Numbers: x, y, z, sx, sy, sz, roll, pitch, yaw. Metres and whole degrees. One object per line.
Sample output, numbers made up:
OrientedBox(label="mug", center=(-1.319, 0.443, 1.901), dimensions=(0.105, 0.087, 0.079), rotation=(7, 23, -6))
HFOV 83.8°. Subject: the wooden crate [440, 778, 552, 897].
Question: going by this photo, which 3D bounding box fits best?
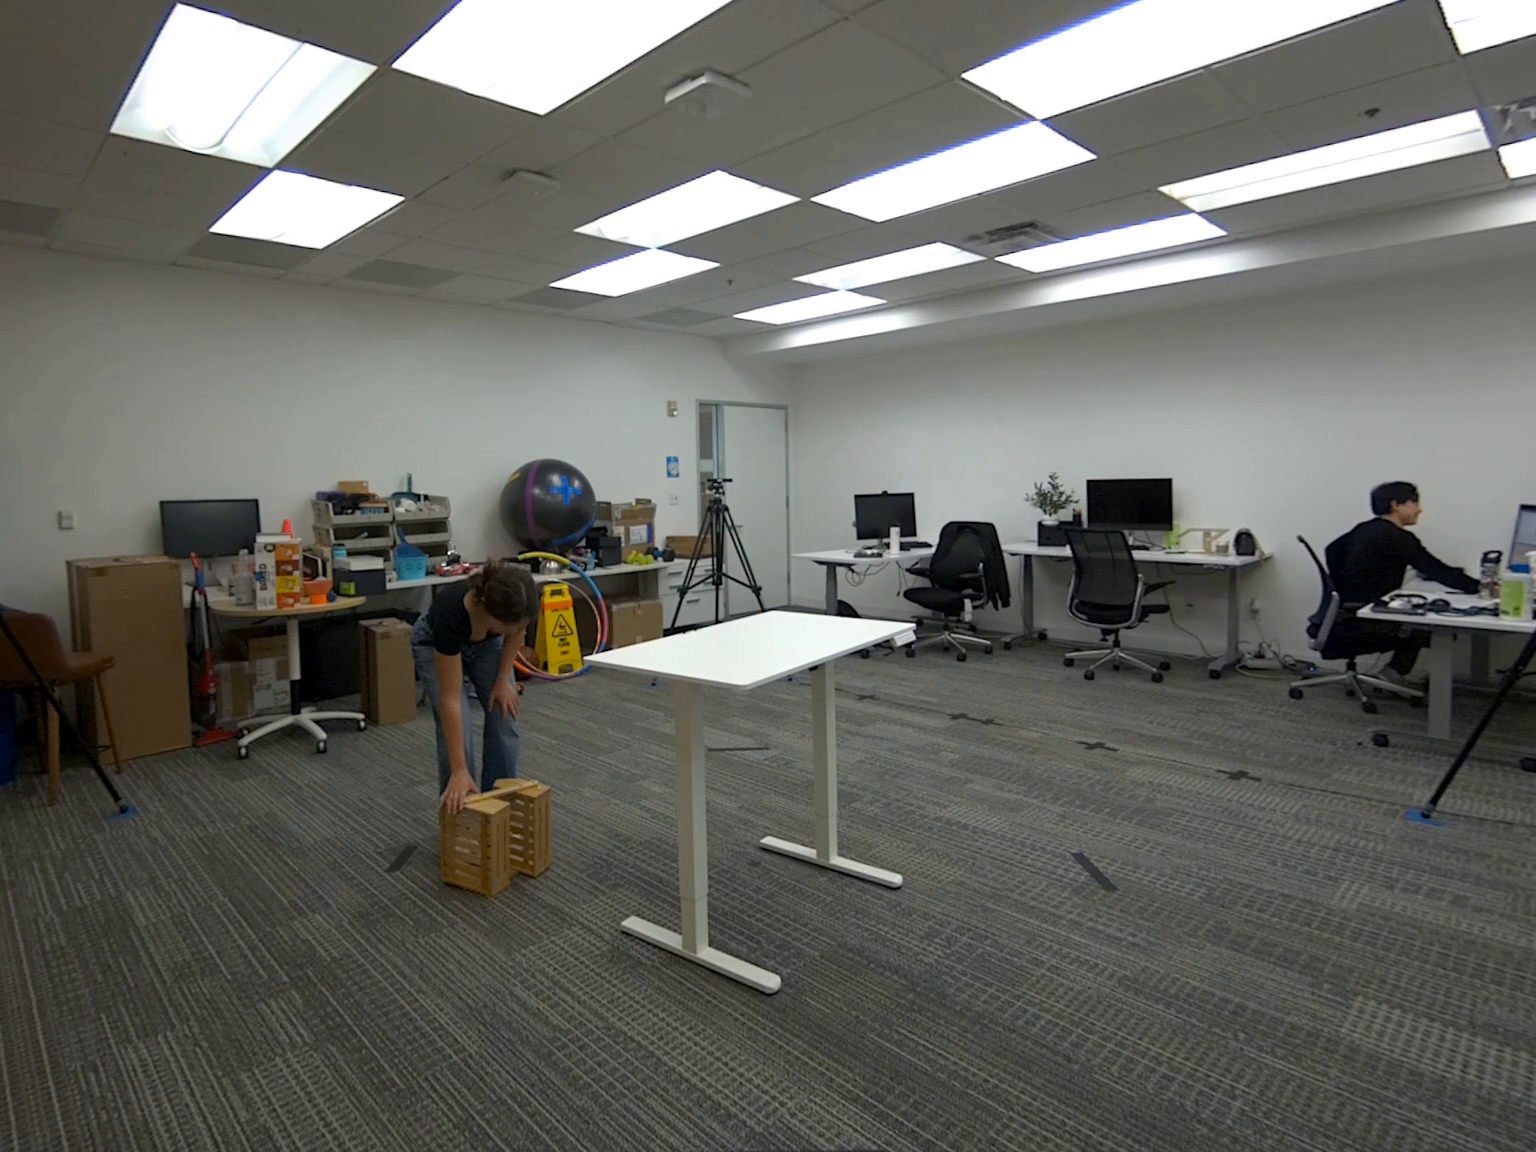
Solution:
OrientedBox(label="wooden crate", center=(-0.969, 0.909, 3.026), dimensions=(0.309, 0.322, 0.269), rotation=(6, 10, 22))
